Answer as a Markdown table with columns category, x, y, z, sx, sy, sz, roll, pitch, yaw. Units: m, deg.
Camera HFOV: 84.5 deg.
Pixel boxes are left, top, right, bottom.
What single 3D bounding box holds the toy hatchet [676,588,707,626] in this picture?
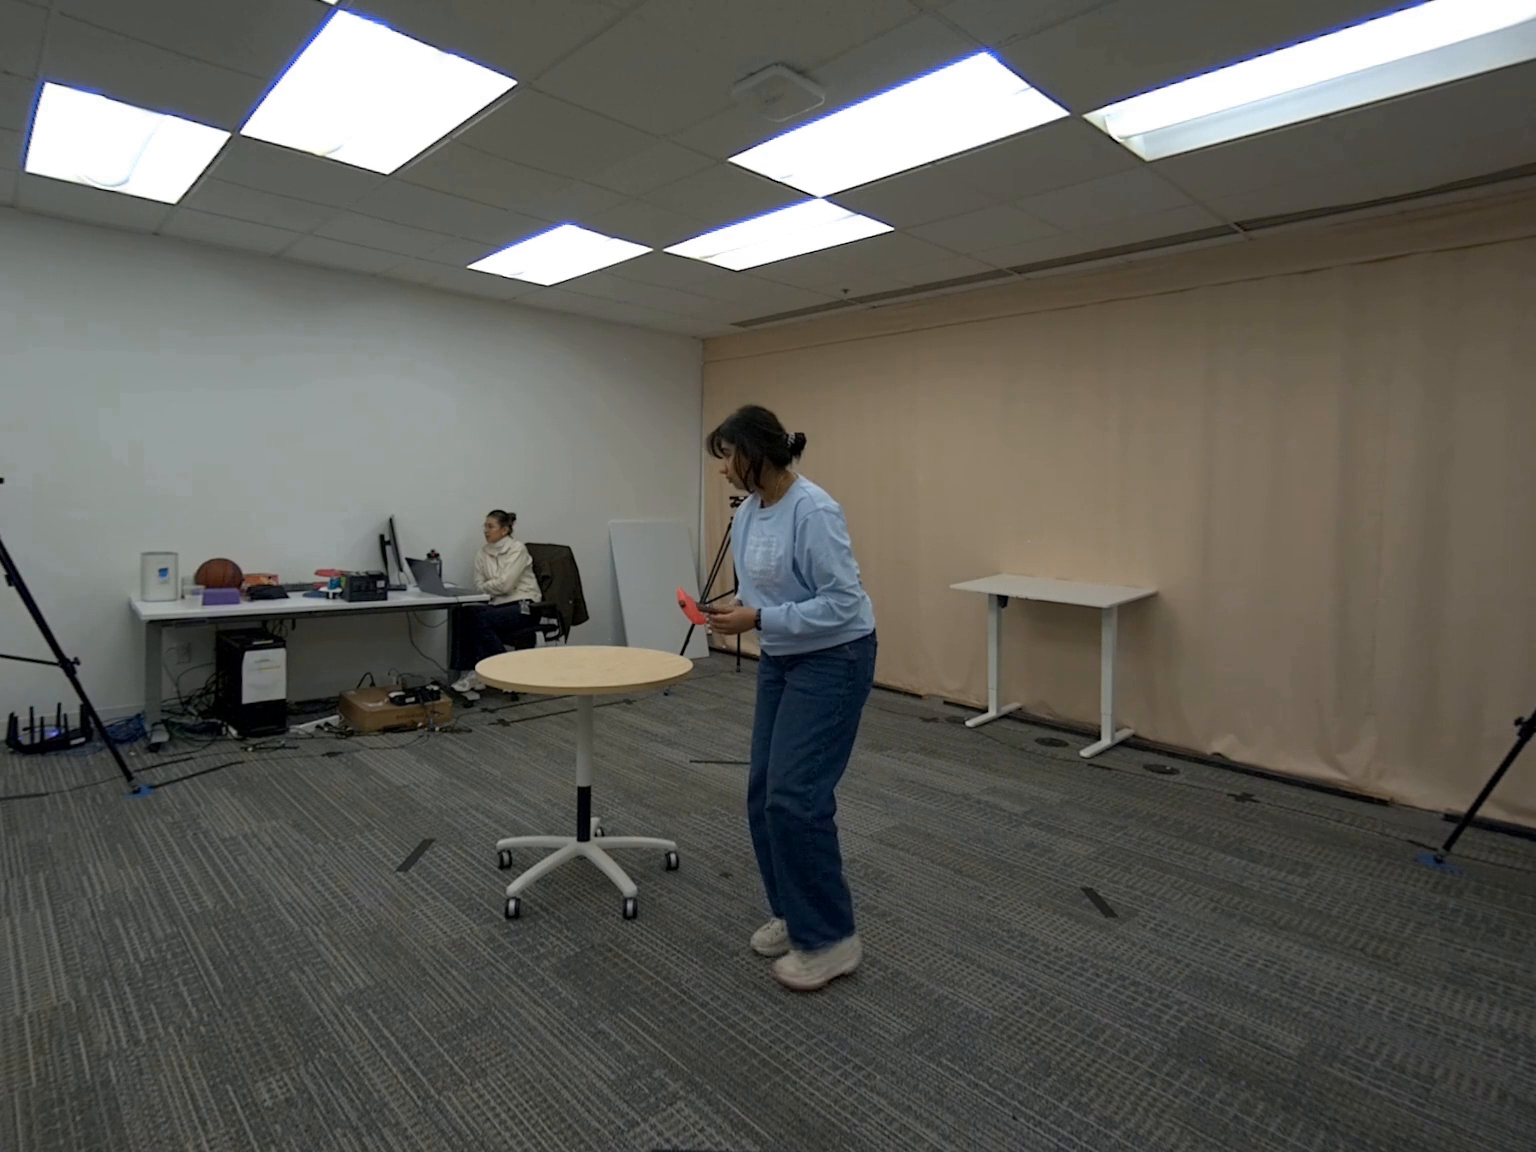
| category | x | y | z | sx | sy | sz | roll | pitch | yaw |
| --- | --- | --- | --- | --- | --- | --- | --- | --- | --- |
| toy hatchet | -0.158 | 0.128 | 2.447 | 0.263 | 0.029 | 0.134 | 29 | 28 | -31 |
